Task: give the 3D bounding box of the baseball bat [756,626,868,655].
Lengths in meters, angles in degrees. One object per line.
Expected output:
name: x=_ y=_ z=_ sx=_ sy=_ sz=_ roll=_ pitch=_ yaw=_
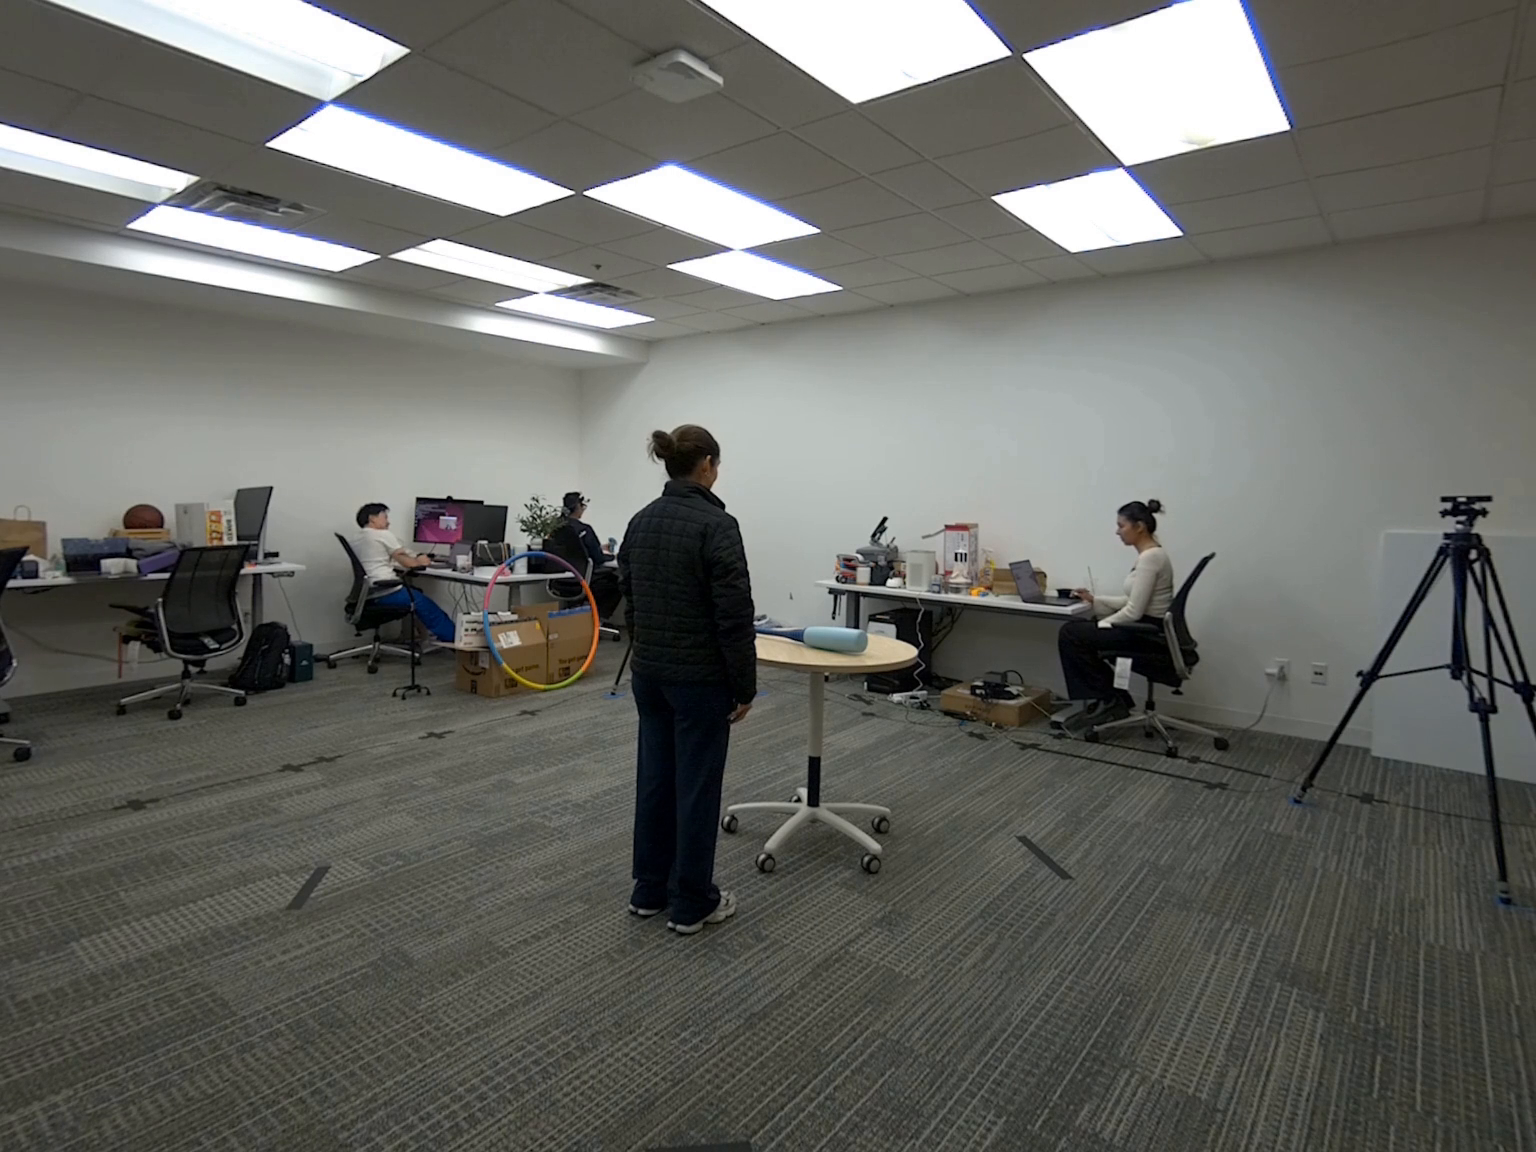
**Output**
baseball bat: x=0.156 y=0.231 z=3.330 sx=0.561 sy=0.089 sz=0.086 roll=2 pitch=4 yaw=41
